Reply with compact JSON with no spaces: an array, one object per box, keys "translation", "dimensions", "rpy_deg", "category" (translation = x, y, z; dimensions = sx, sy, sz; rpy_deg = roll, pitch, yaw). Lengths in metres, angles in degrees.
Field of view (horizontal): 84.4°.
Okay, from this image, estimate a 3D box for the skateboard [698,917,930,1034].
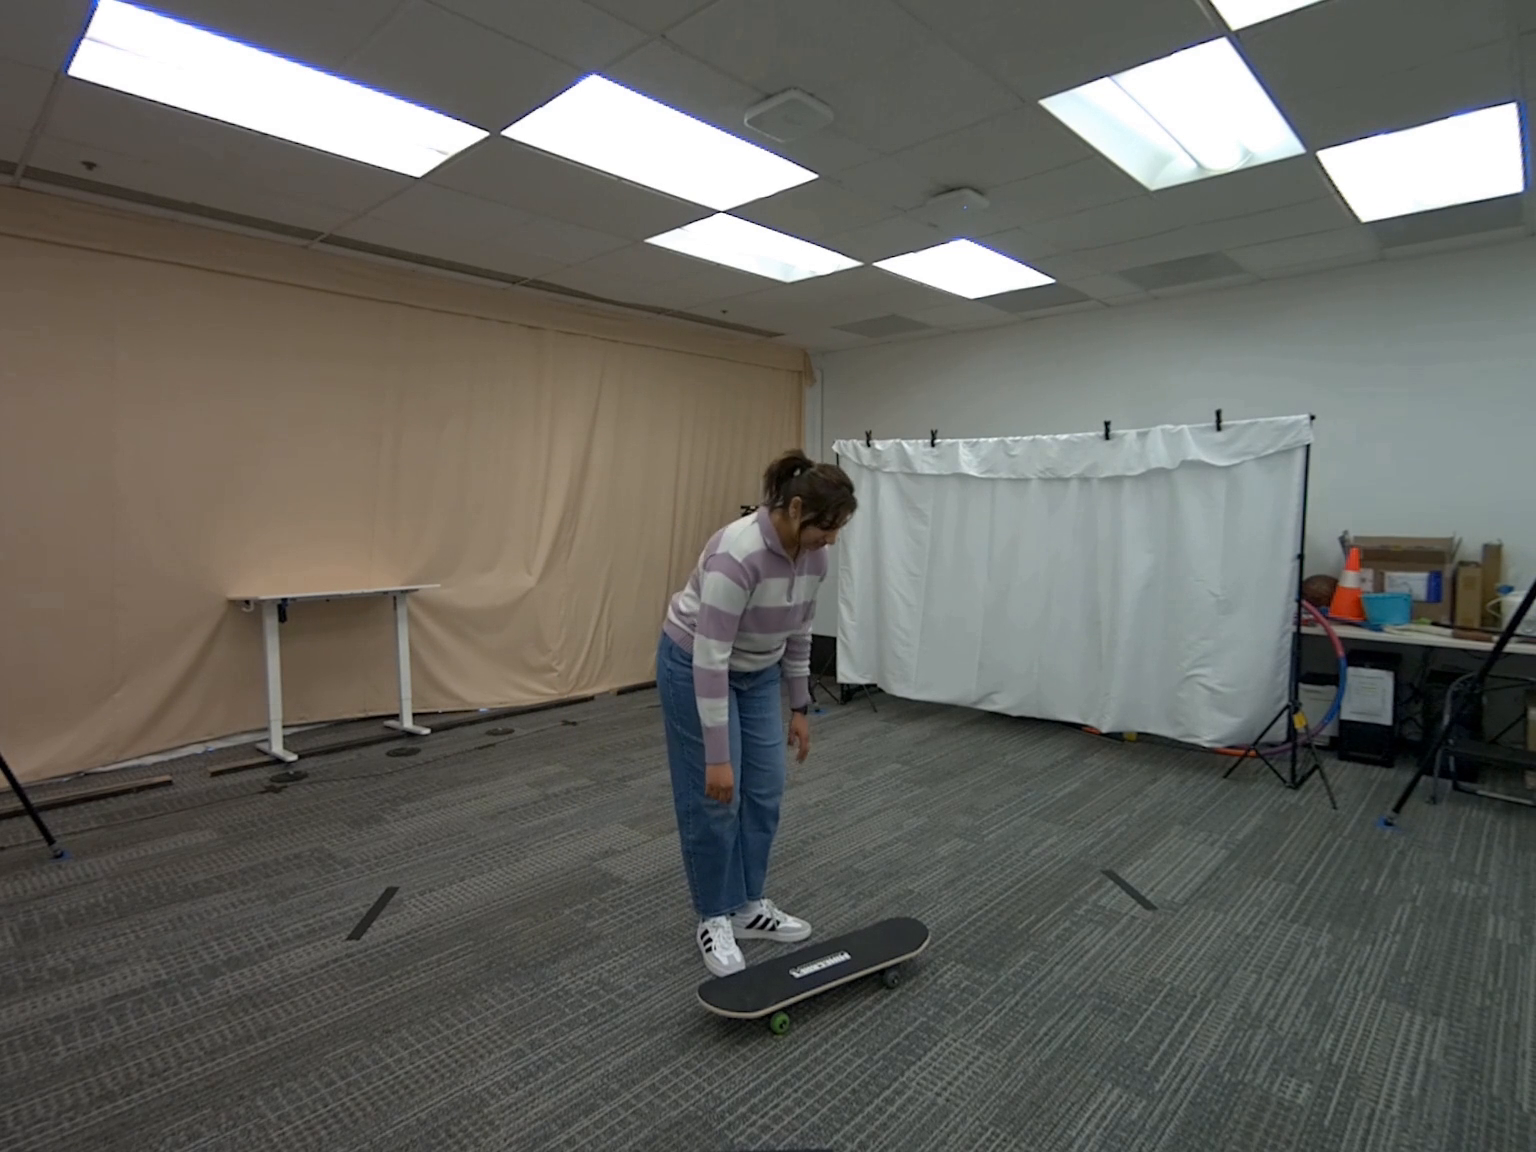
[{"translation":[0.158,1.141,2.390],"dimensions":[0.764,0.110,0.199],"rpy_deg":[-3,5,-32],"category":"skateboard"}]
